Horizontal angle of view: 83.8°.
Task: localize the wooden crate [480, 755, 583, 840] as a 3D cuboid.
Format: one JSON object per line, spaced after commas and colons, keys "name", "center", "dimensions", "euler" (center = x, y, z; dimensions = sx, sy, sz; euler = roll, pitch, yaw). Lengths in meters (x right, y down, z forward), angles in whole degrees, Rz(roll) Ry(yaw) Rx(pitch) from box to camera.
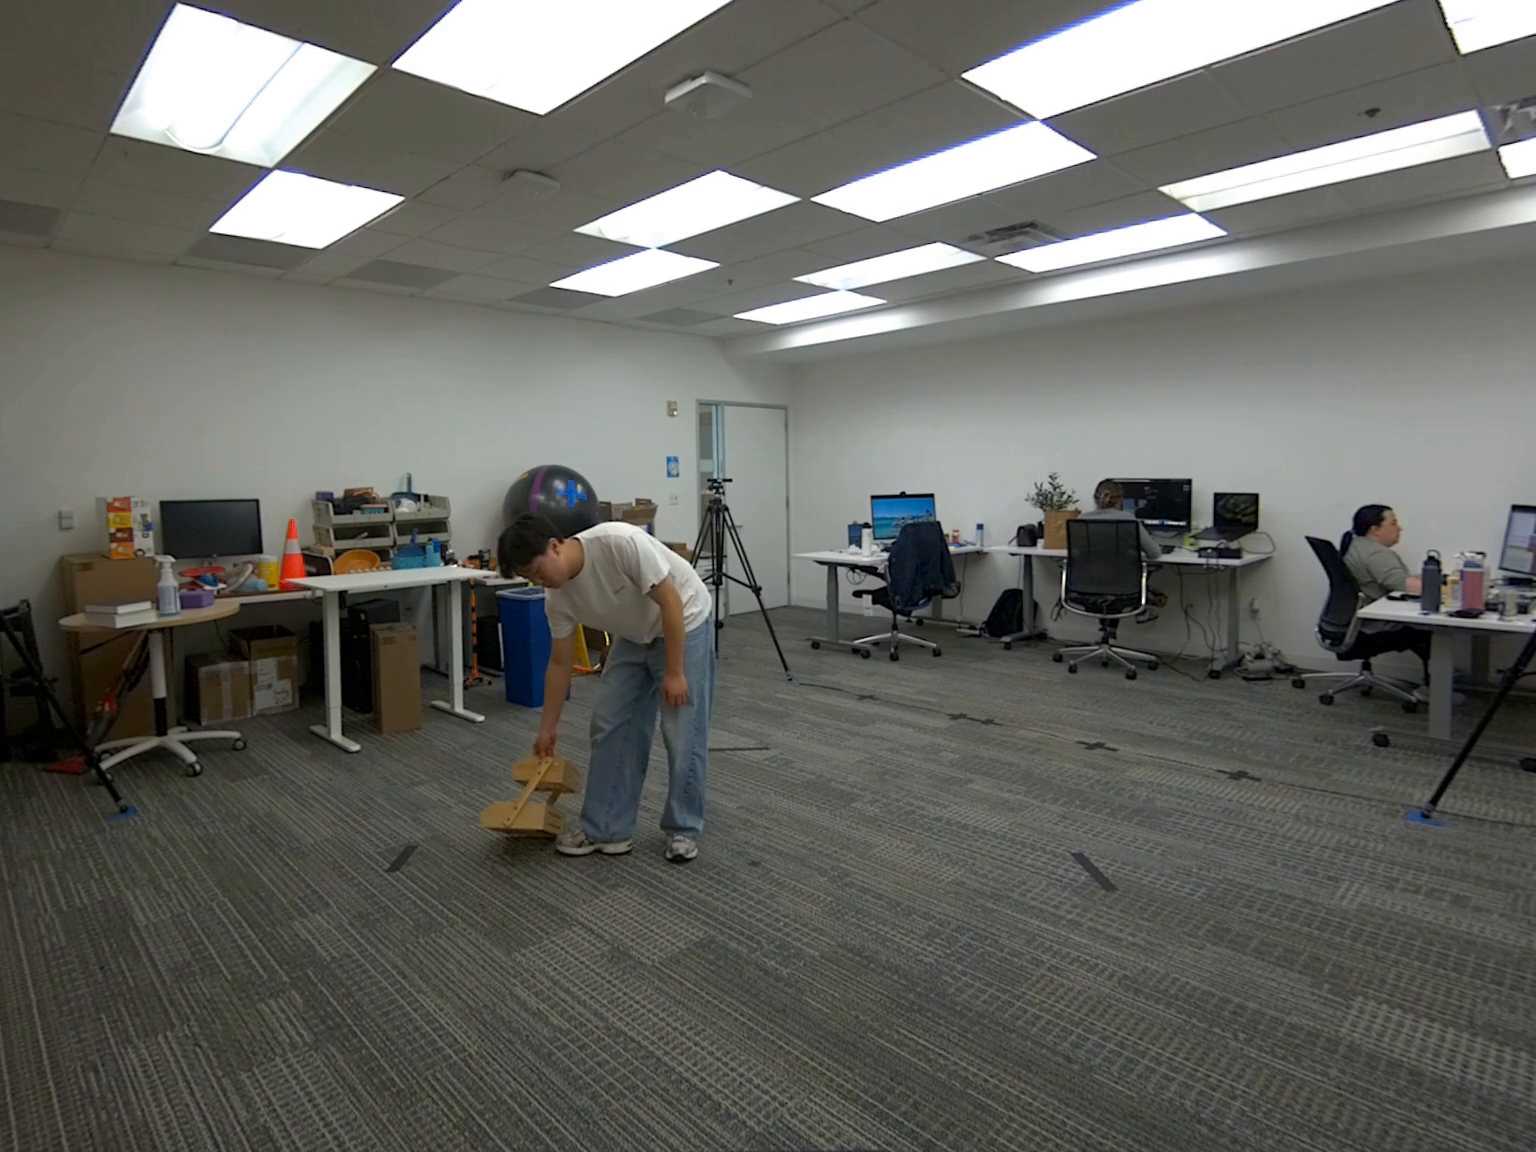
{"name": "wooden crate", "center": [-0.898, 0.850, 3.300], "dimensions": [0.303, 0.278, 0.317], "euler": [2, -22, 2]}
